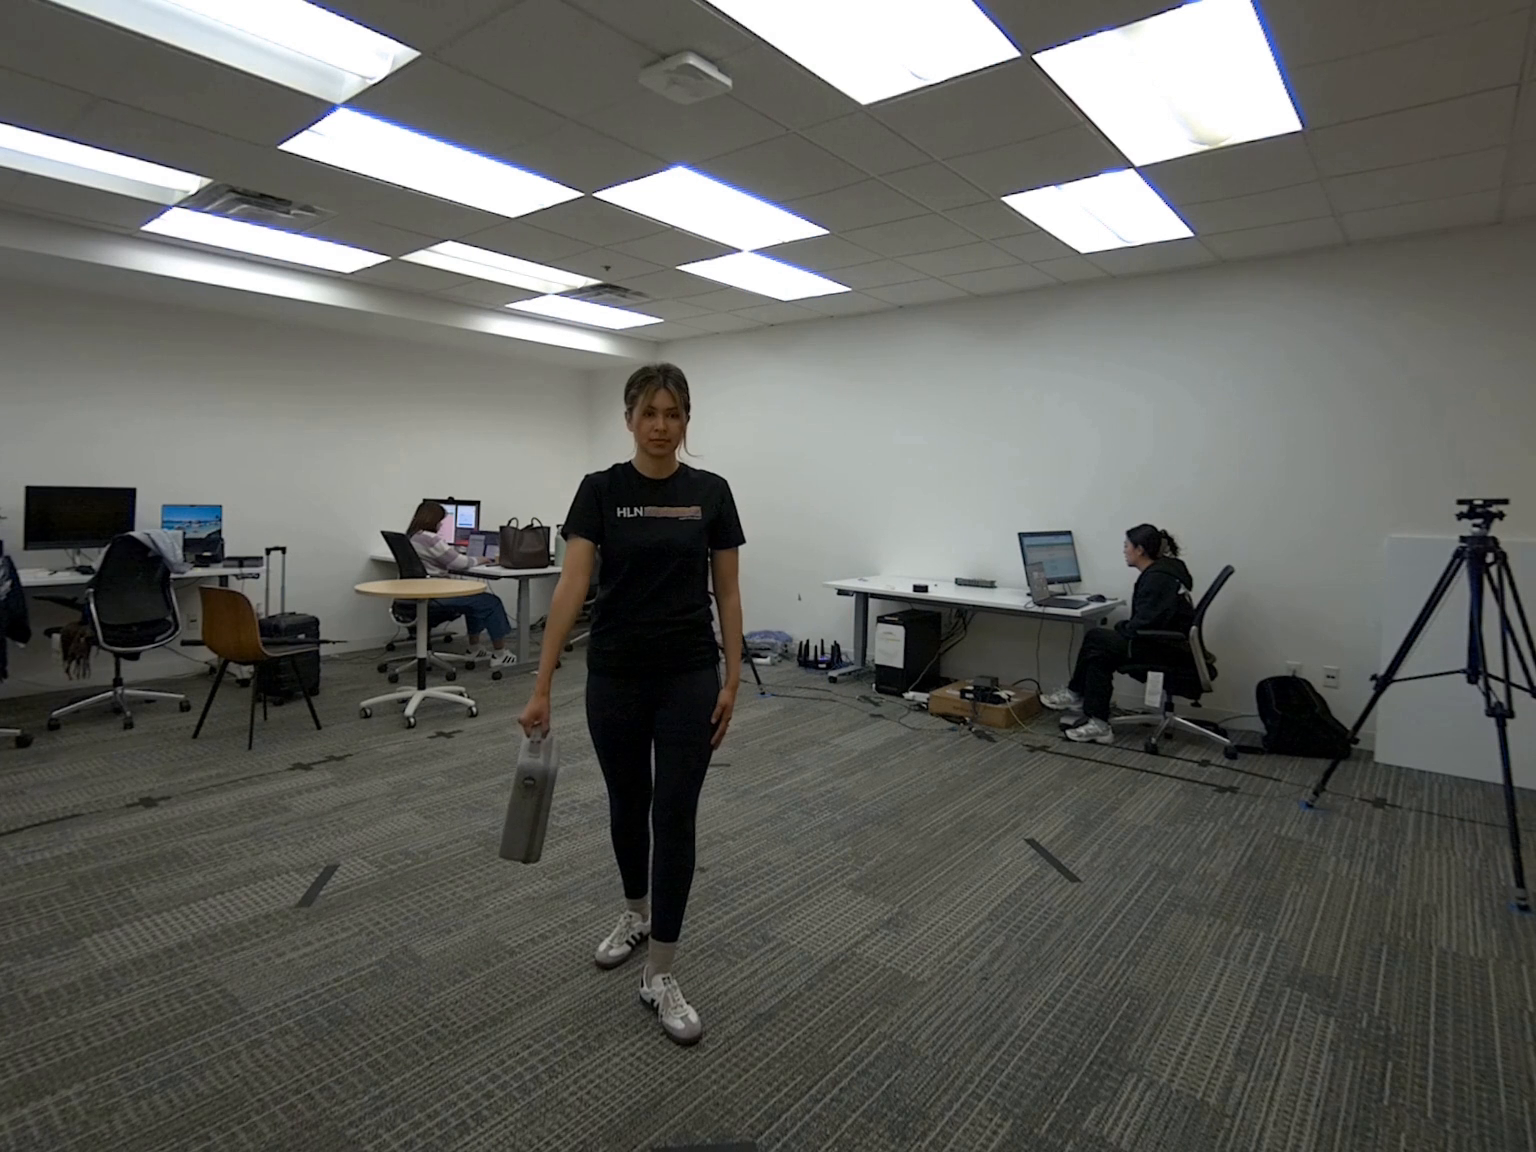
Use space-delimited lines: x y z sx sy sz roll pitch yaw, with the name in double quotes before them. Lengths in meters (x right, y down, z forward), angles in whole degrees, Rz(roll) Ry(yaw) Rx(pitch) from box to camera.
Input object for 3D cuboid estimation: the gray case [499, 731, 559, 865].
"gray case" -0.589 0.537 2.120 0.103 0.260 0.260 10 4 -8
